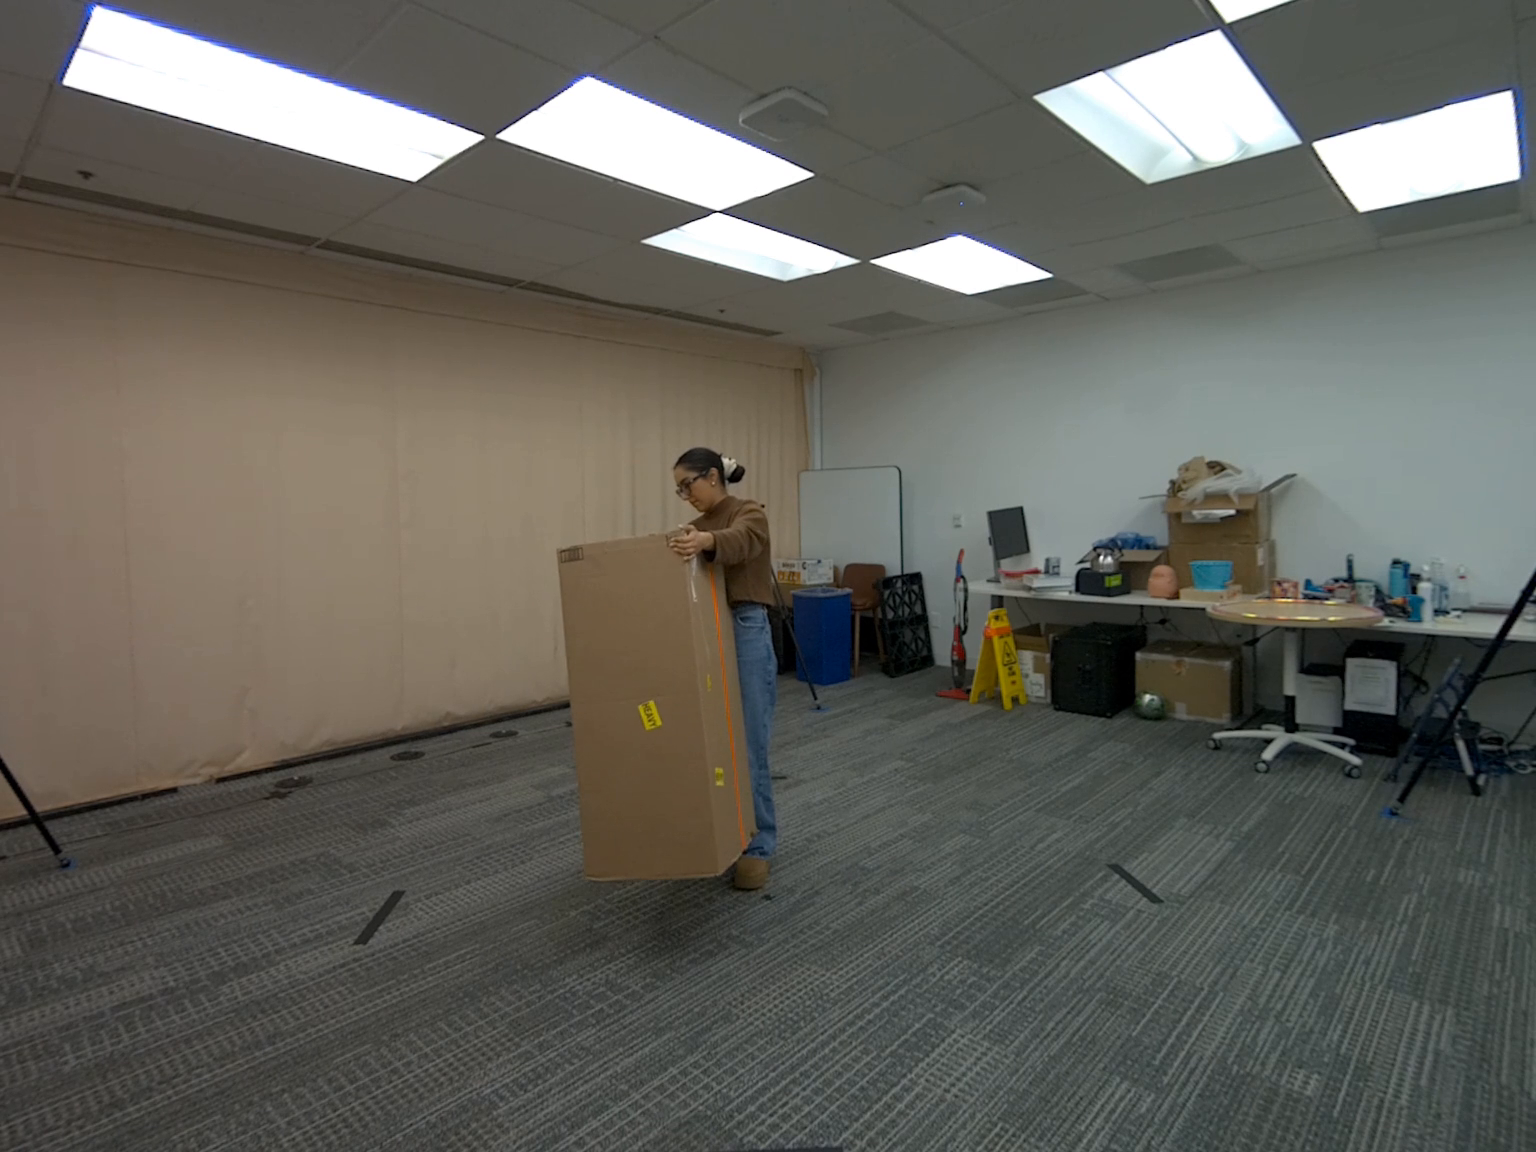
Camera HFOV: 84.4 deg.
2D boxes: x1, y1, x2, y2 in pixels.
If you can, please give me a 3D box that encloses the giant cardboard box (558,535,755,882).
[{"bbox_3d":[-0.352,0.416,2.819,0.432,1.031,0.567,-8,-7,12],"label":"giant cardboard box"}]
